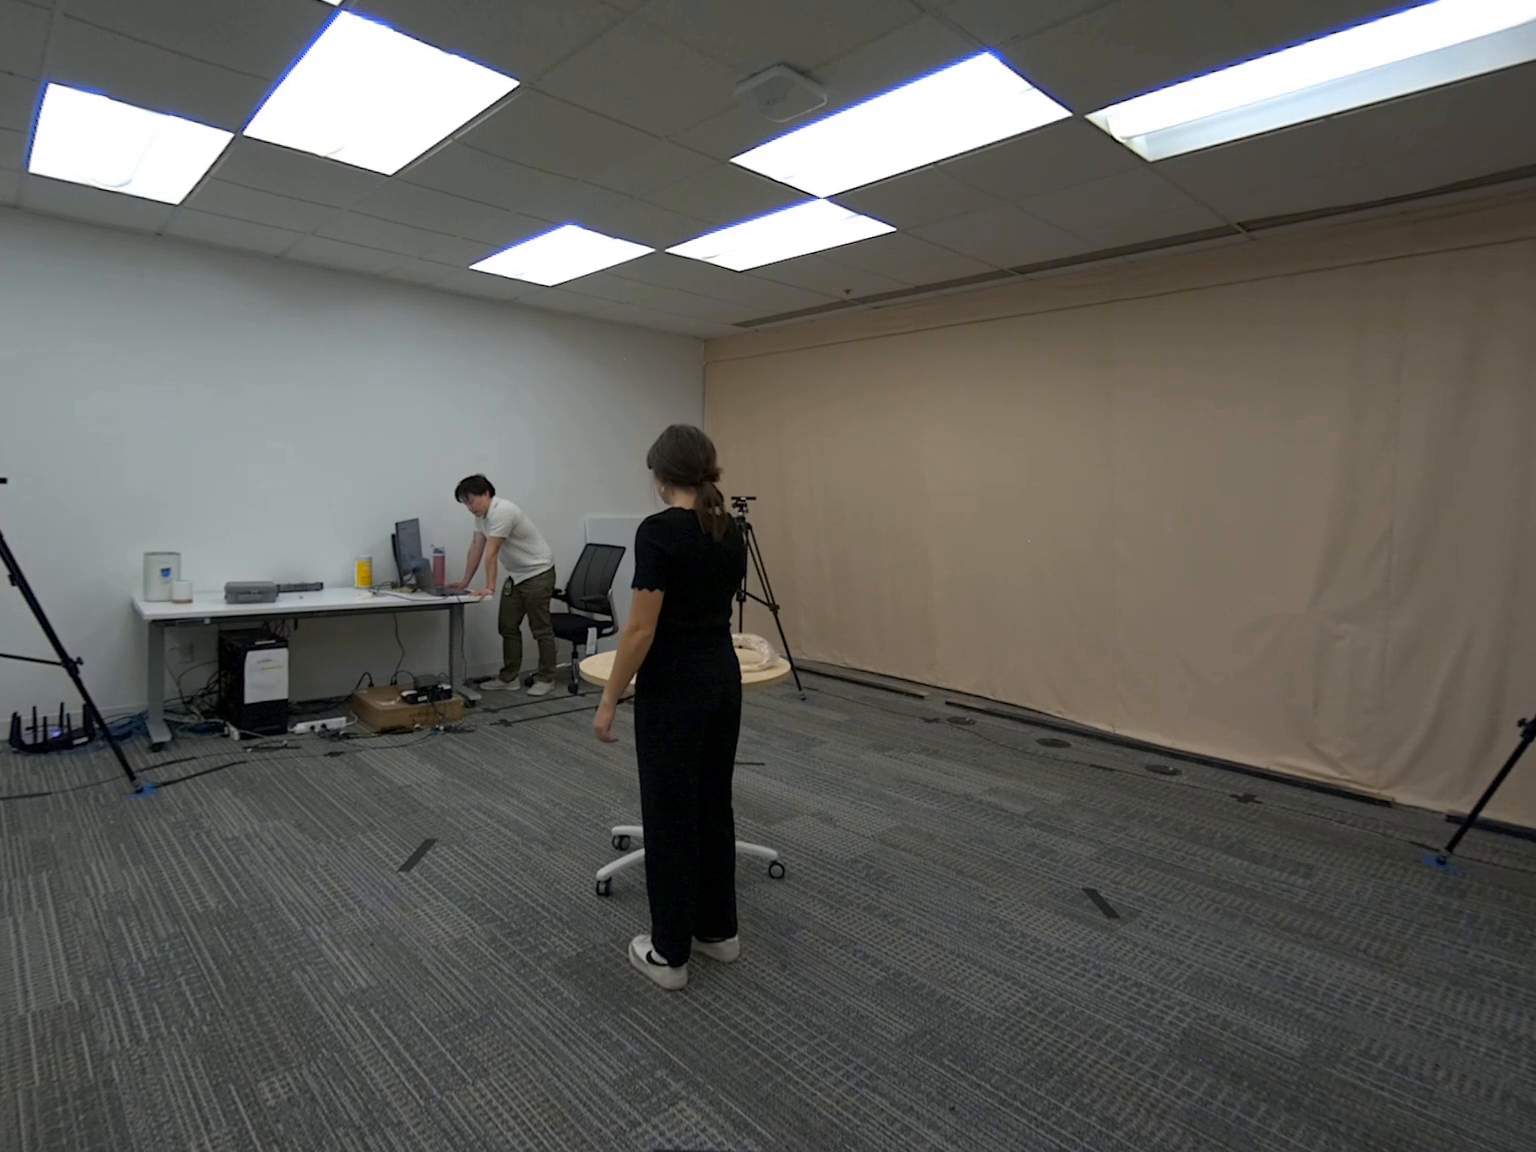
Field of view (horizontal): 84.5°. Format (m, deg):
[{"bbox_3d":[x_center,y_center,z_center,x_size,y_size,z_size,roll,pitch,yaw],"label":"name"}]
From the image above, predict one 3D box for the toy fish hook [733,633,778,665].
[{"bbox_3d":[-0.199,0.280,2.958,0.497,0.048,0.231,-3,23,-27],"label":"toy fish hook"}]
